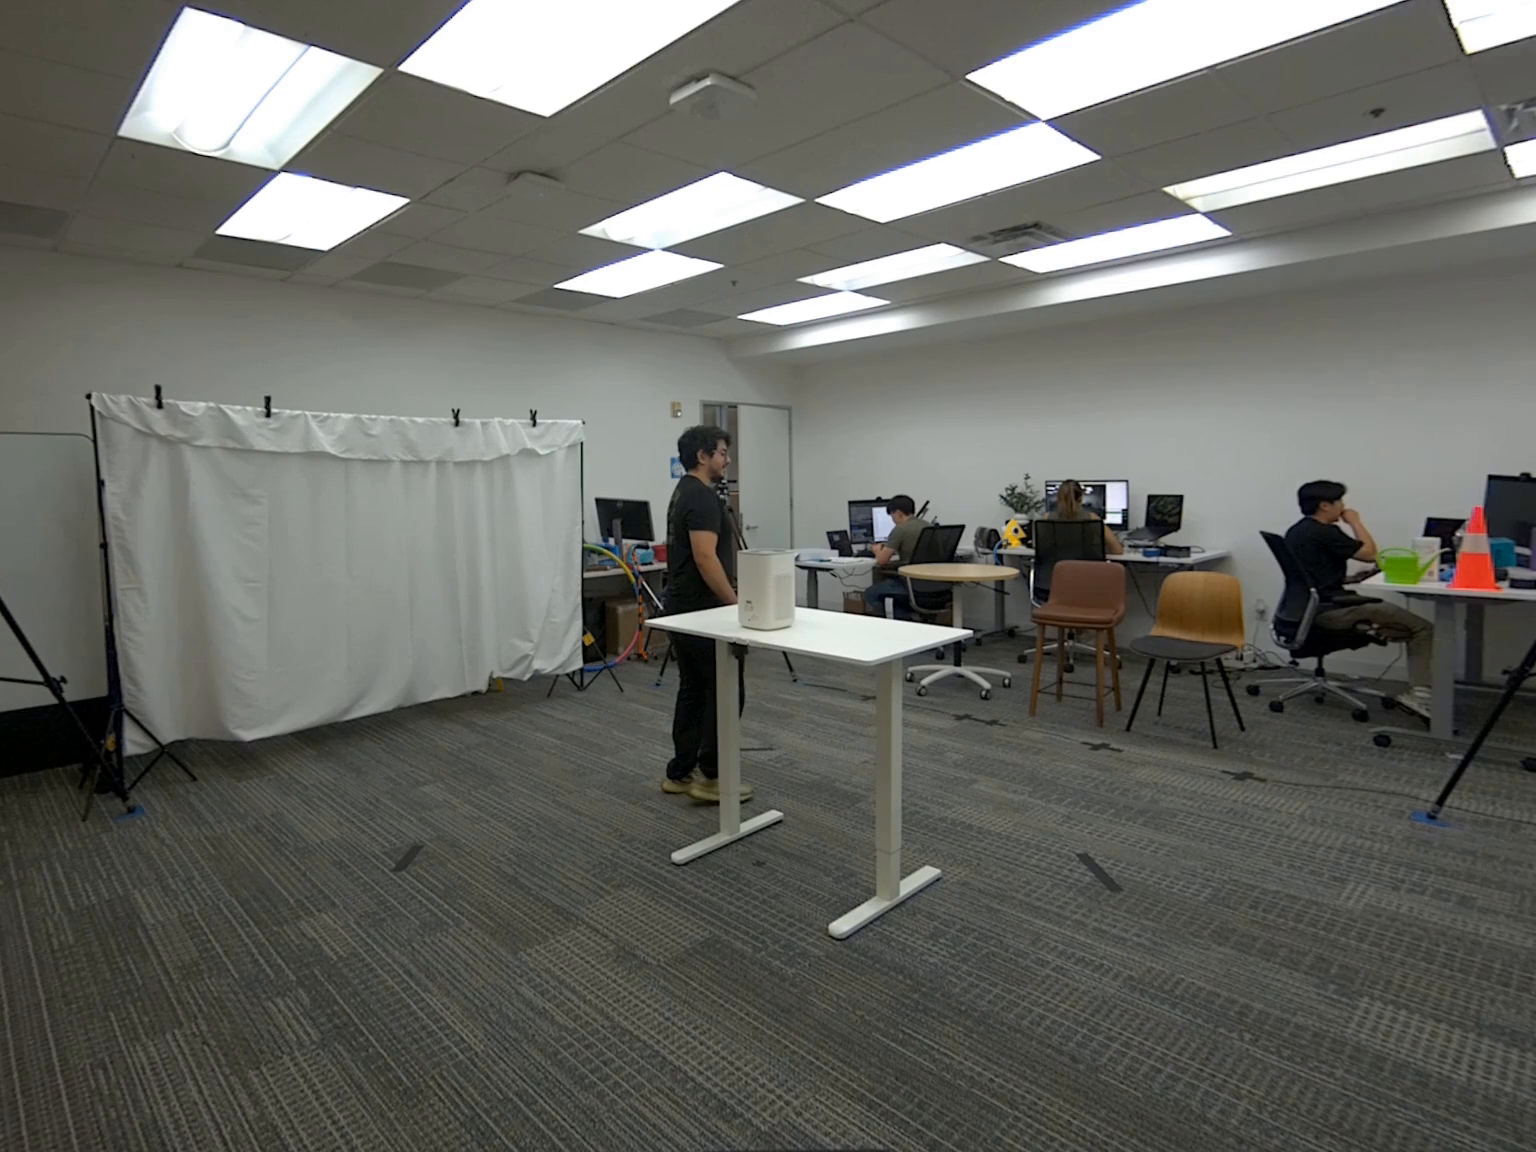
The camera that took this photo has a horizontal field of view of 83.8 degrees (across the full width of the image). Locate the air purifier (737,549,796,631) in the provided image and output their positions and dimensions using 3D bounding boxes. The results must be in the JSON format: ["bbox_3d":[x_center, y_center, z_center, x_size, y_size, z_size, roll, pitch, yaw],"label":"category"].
[{"bbox_3d":[0.000,0.045,2.976,0.167,0.264,0.176,-5,8,-44],"label":"air purifier"}]
